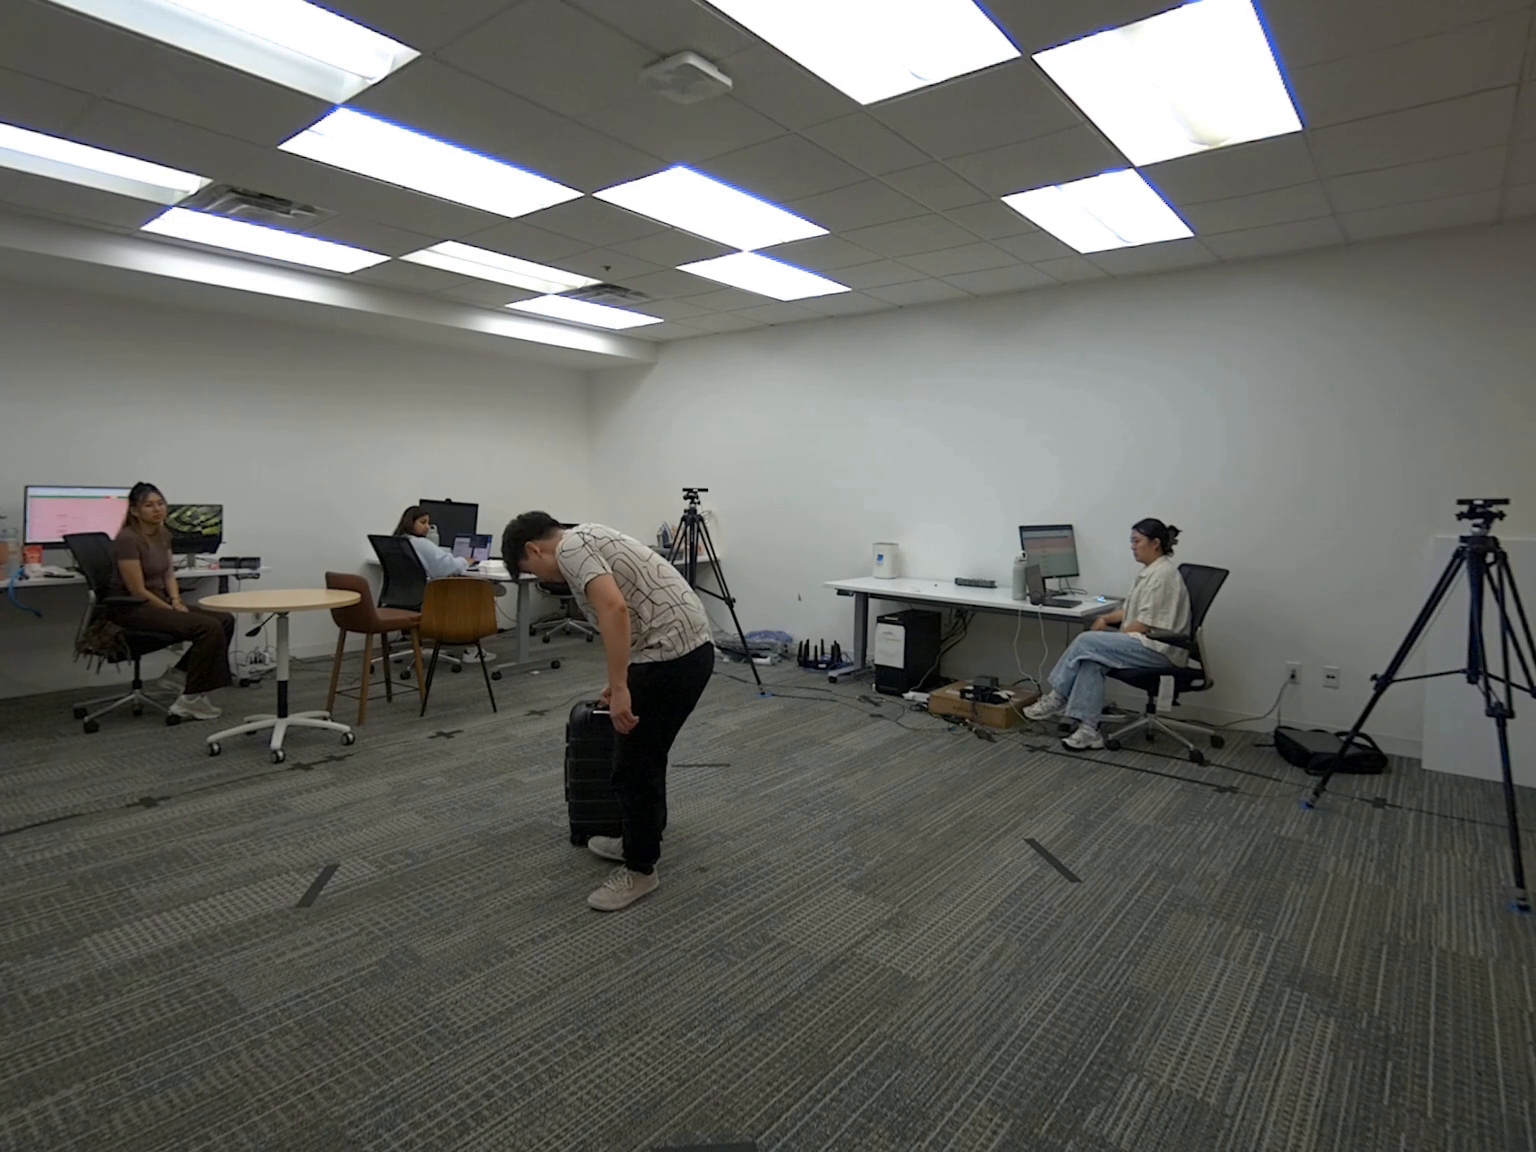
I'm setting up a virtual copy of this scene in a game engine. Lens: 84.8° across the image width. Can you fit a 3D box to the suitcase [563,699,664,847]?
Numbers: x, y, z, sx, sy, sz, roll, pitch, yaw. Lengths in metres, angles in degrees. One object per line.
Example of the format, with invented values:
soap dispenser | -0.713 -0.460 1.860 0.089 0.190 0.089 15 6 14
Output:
suitcase | -0.626 0.757 3.385 0.374 0.548 0.250 0 3 -4
